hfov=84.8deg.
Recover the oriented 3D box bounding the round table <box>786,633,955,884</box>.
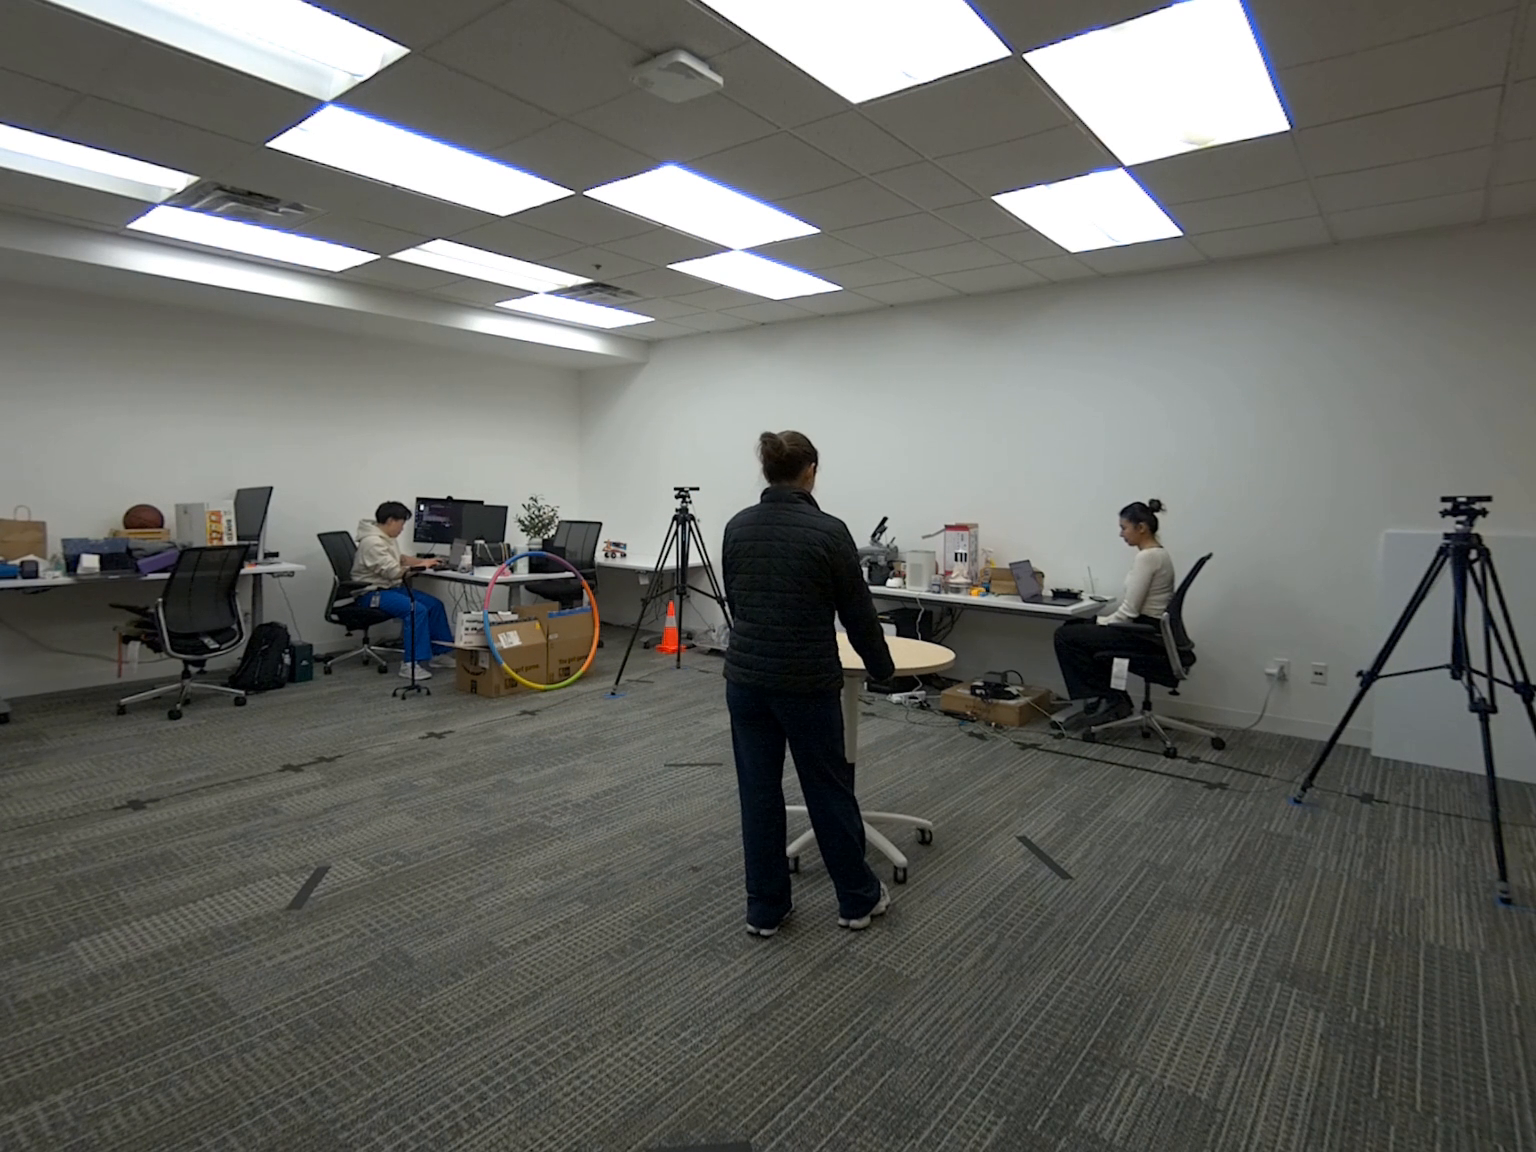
[{"bbox_3d":[0.321,0.661,3.301,0.784,0.784,0.789,1,4,-2],"label":"round table"}]
